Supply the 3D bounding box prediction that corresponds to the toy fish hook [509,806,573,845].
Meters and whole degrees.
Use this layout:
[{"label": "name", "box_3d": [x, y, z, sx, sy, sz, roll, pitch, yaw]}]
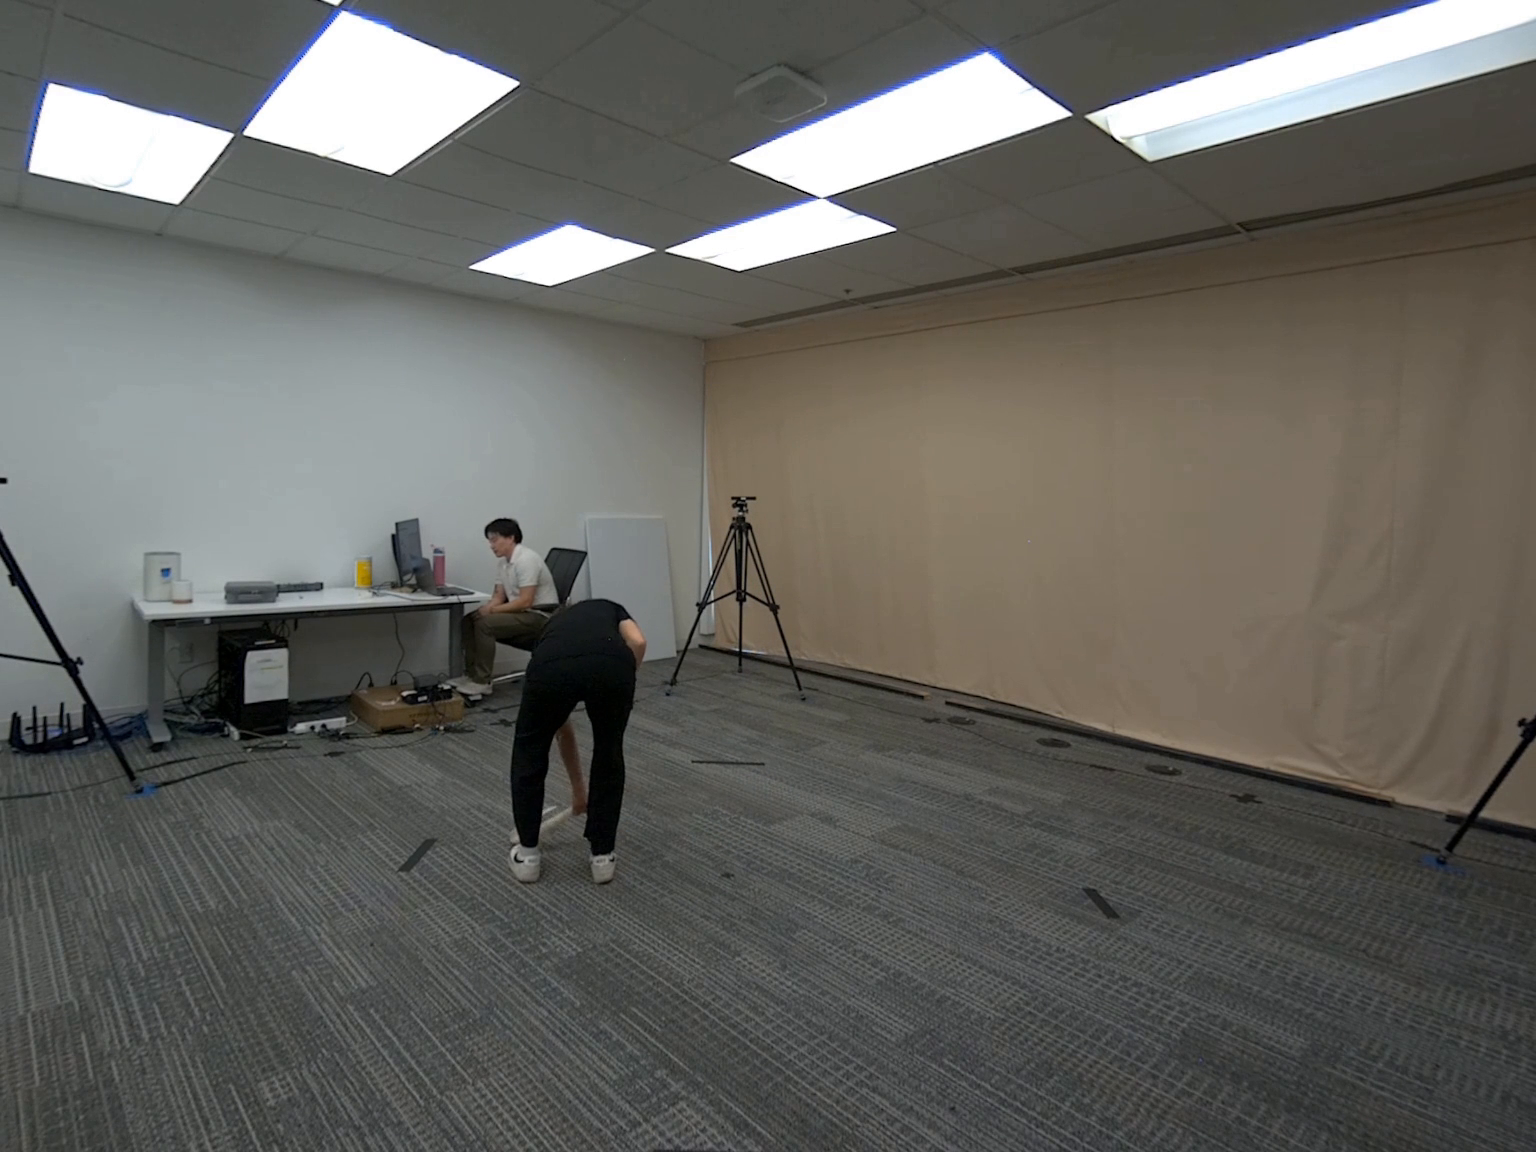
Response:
[{"label": "toy fish hook", "box_3d": [-0.820, 0.941, 3.411, 0.505, 0.047, 0.228, -25, 15, -6]}]
